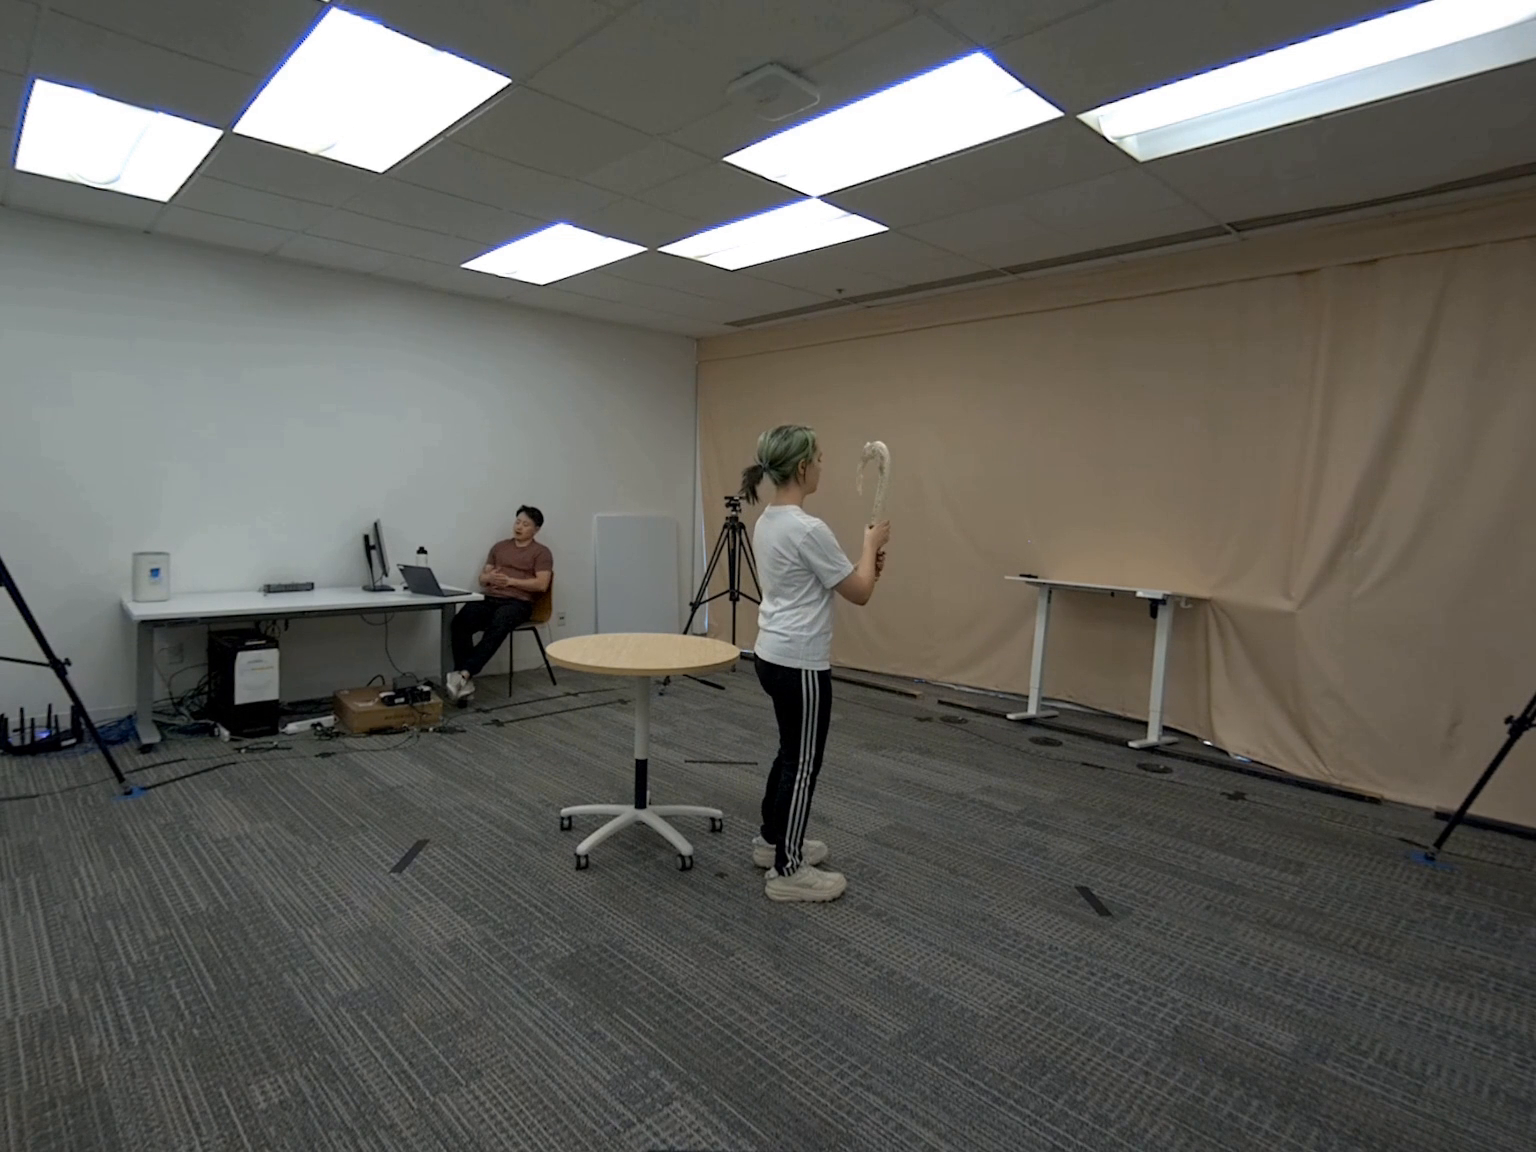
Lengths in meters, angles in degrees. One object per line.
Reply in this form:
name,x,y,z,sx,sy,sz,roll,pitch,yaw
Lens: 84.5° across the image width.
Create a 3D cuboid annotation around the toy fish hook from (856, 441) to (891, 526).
toy fish hook,0.377,-0.238,3.082,0.048,0.506,0.227,3,1,-16
